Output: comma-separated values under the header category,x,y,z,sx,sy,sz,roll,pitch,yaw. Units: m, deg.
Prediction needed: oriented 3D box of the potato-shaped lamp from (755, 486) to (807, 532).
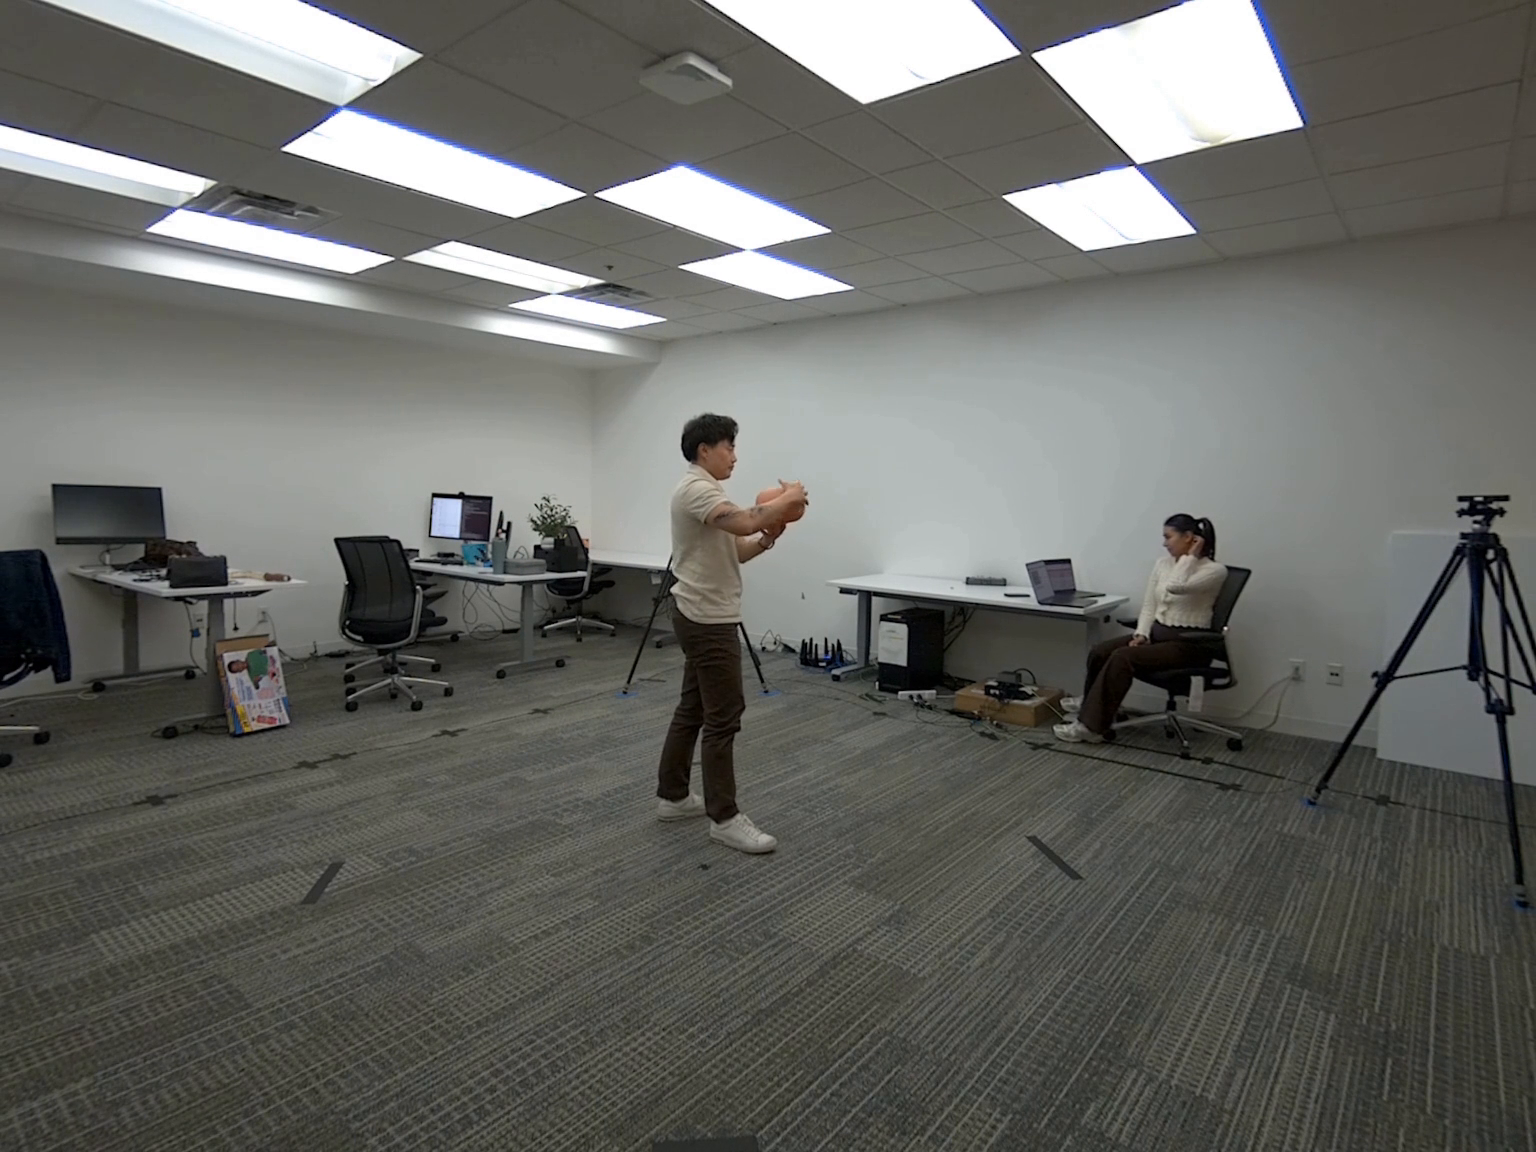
category,x,y,z,sx,sy,sz,roll,pitch,yaw
potato-shaped lamp,0.036,-0.274,3.412,0.199,0.172,0.164,-2,-1,3
